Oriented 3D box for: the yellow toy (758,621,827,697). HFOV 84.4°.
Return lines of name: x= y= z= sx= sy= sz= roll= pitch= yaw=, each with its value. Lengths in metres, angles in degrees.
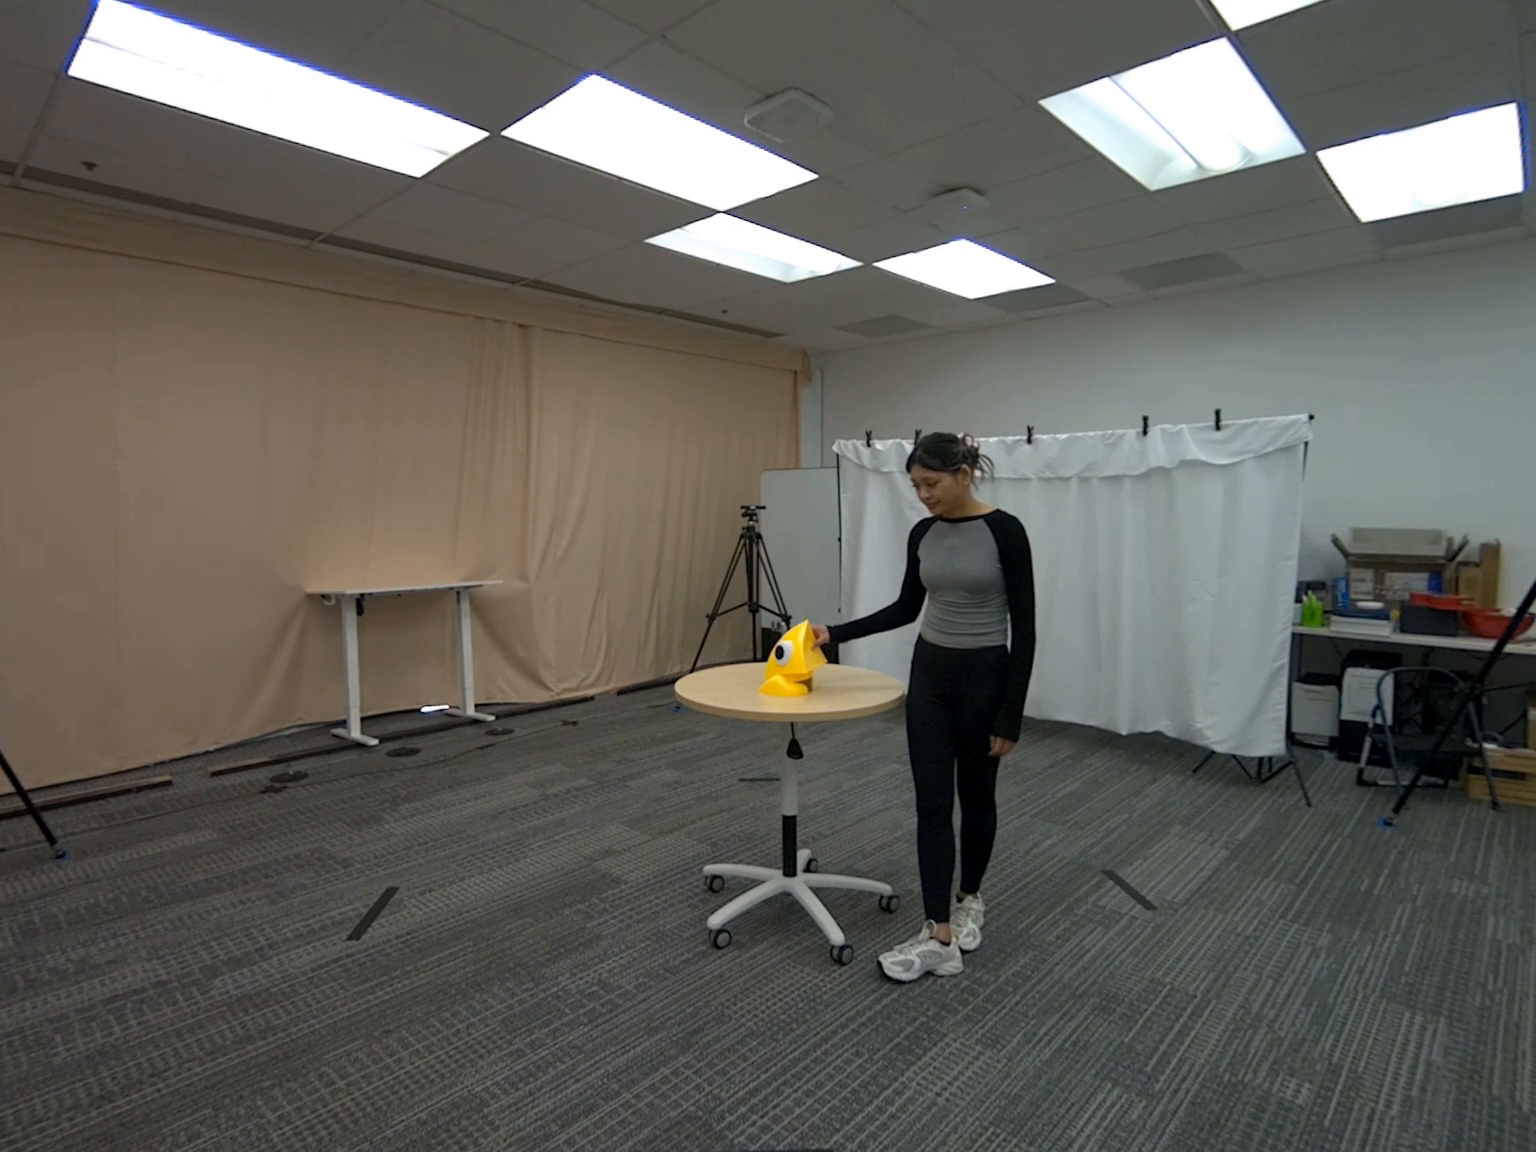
yellow toy: x=0.079 y=0.258 z=2.741 sx=0.198 sy=0.230 sz=0.200 roll=1 pitch=4 yaw=24
